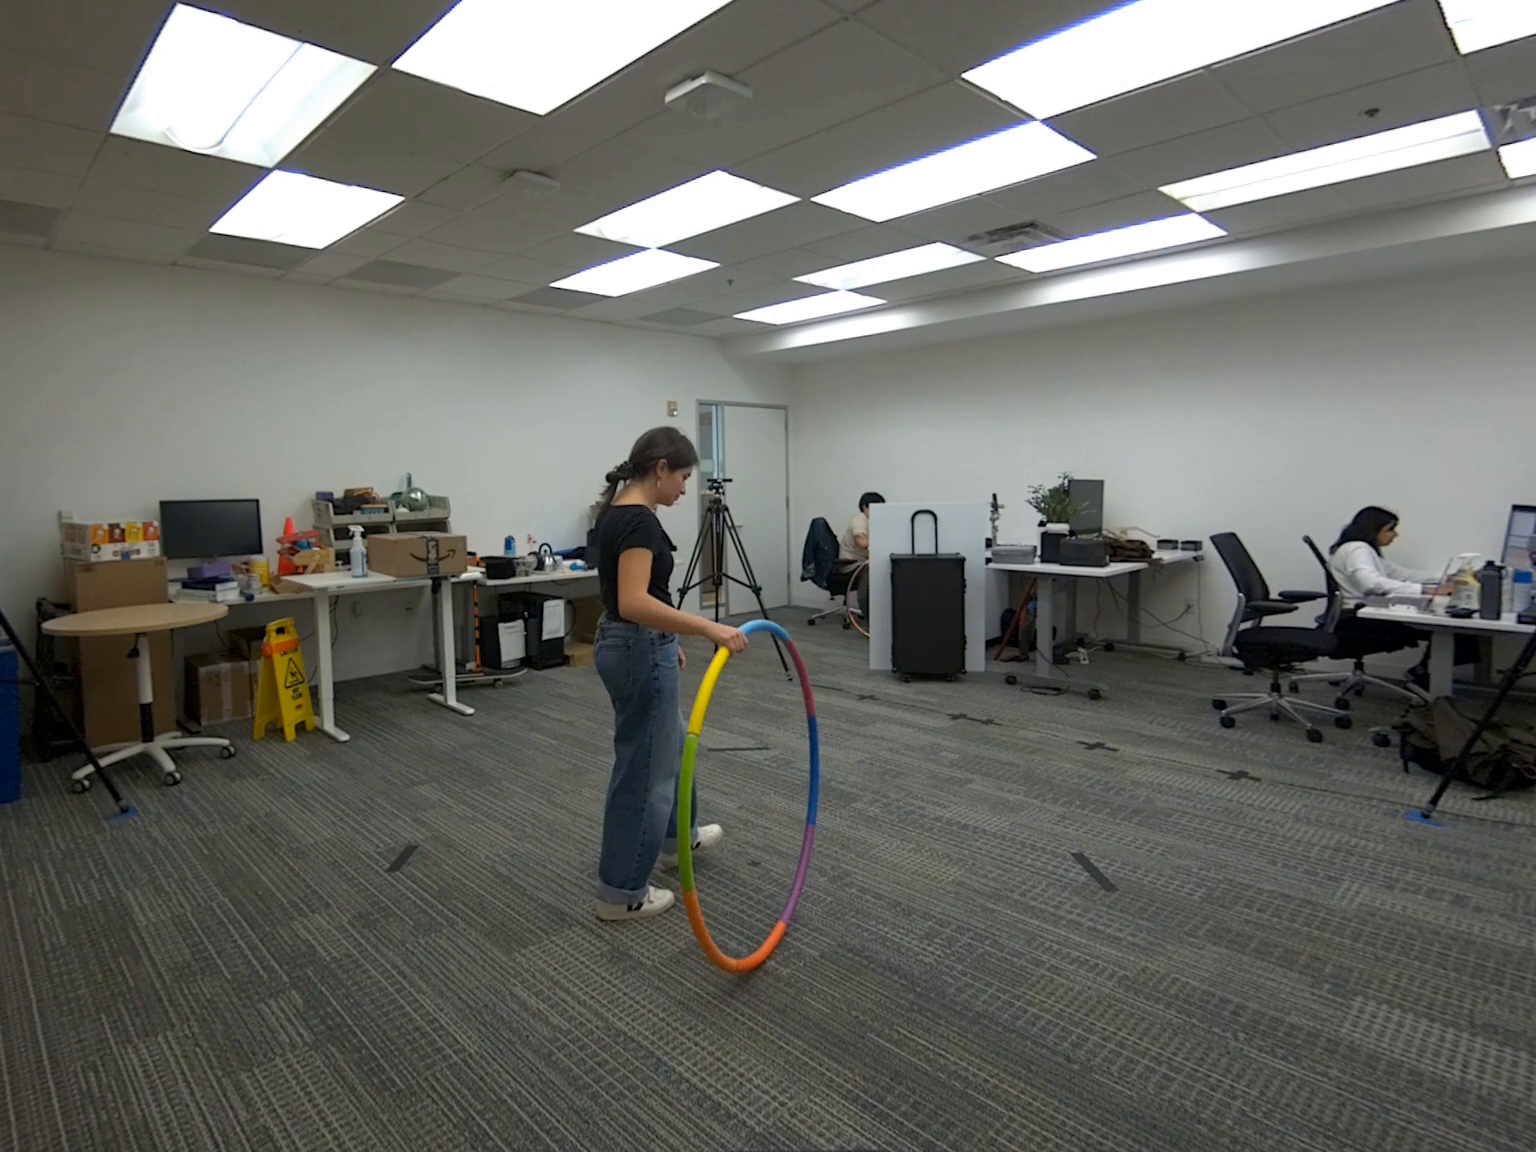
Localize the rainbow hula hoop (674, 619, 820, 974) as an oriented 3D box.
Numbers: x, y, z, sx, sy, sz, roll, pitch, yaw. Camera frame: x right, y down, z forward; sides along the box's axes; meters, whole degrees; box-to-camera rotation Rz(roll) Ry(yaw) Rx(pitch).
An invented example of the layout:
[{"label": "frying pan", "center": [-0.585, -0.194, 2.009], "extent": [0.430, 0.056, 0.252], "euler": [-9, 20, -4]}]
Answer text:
[{"label": "rainbow hula hoop", "center": [-0.020, 0.623, 2.533], "extent": [0.036, 0.976, 0.962], "euler": [-3, 4, 22]}]
